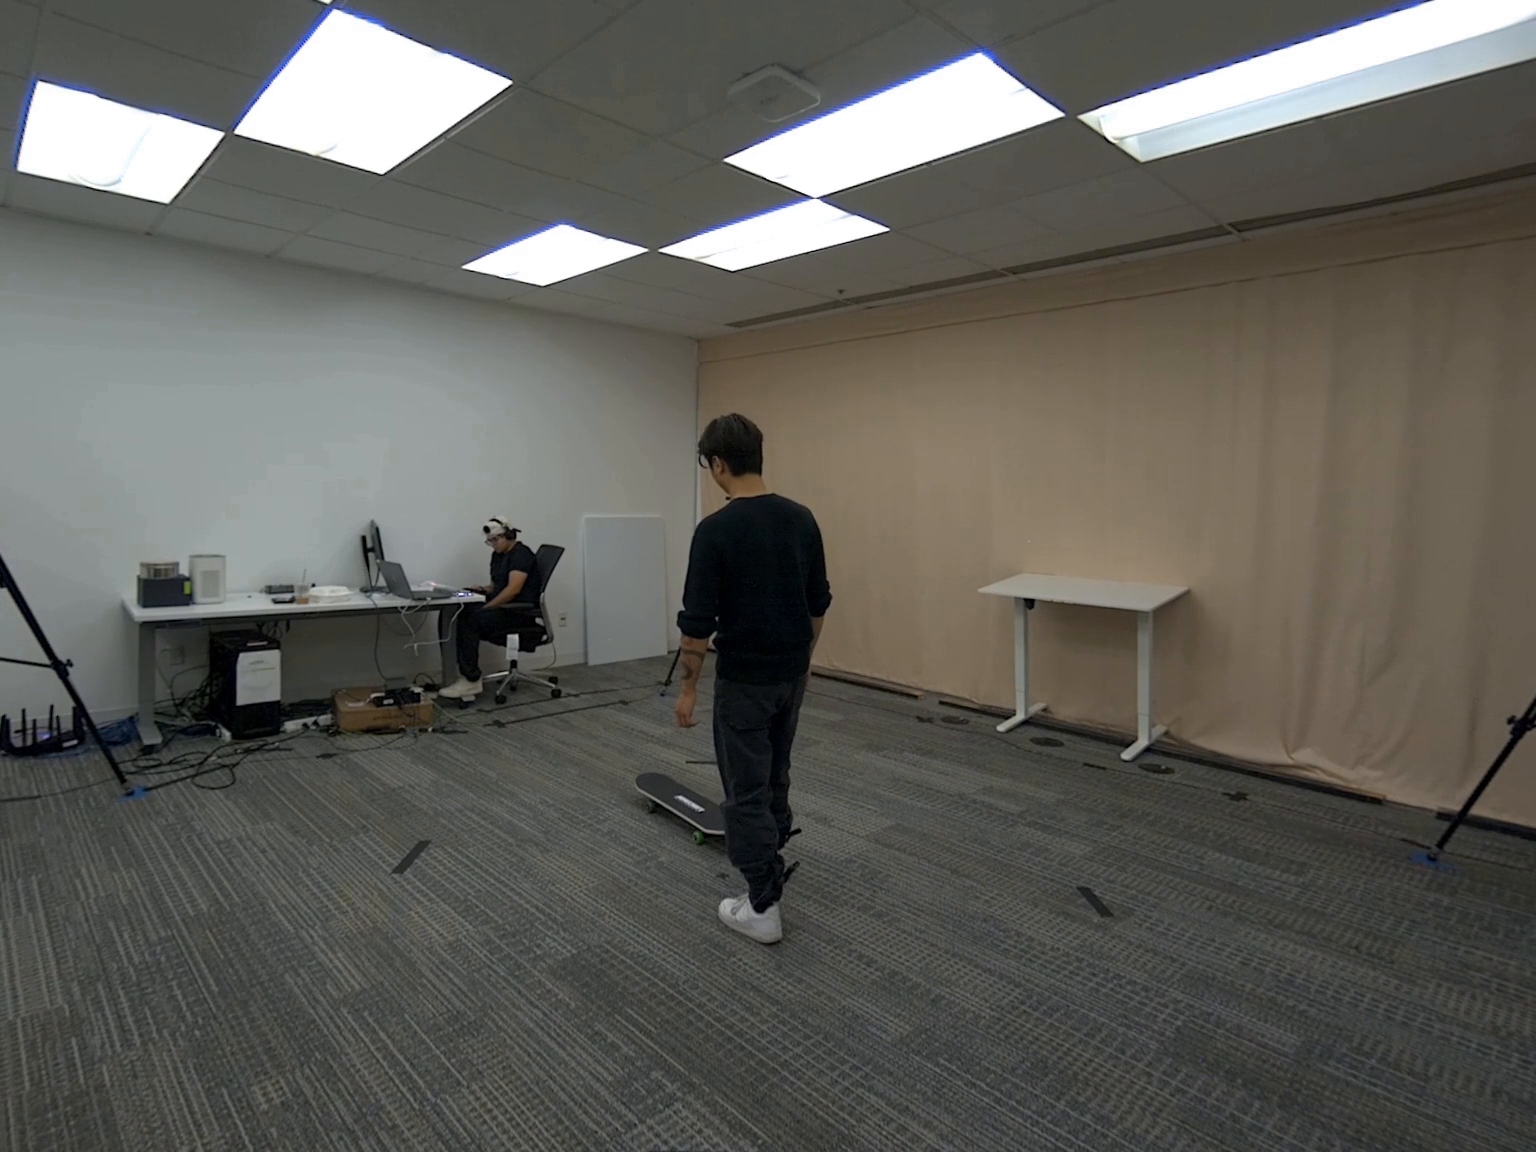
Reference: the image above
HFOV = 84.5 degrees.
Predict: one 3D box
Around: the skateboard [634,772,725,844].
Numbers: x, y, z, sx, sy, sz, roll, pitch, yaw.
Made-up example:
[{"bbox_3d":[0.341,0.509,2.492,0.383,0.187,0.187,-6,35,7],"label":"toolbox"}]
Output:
[{"bbox_3d":[-0.351,1.006,3.595,0.189,0.110,0.805,-1,6,-35],"label":"skateboard"}]
